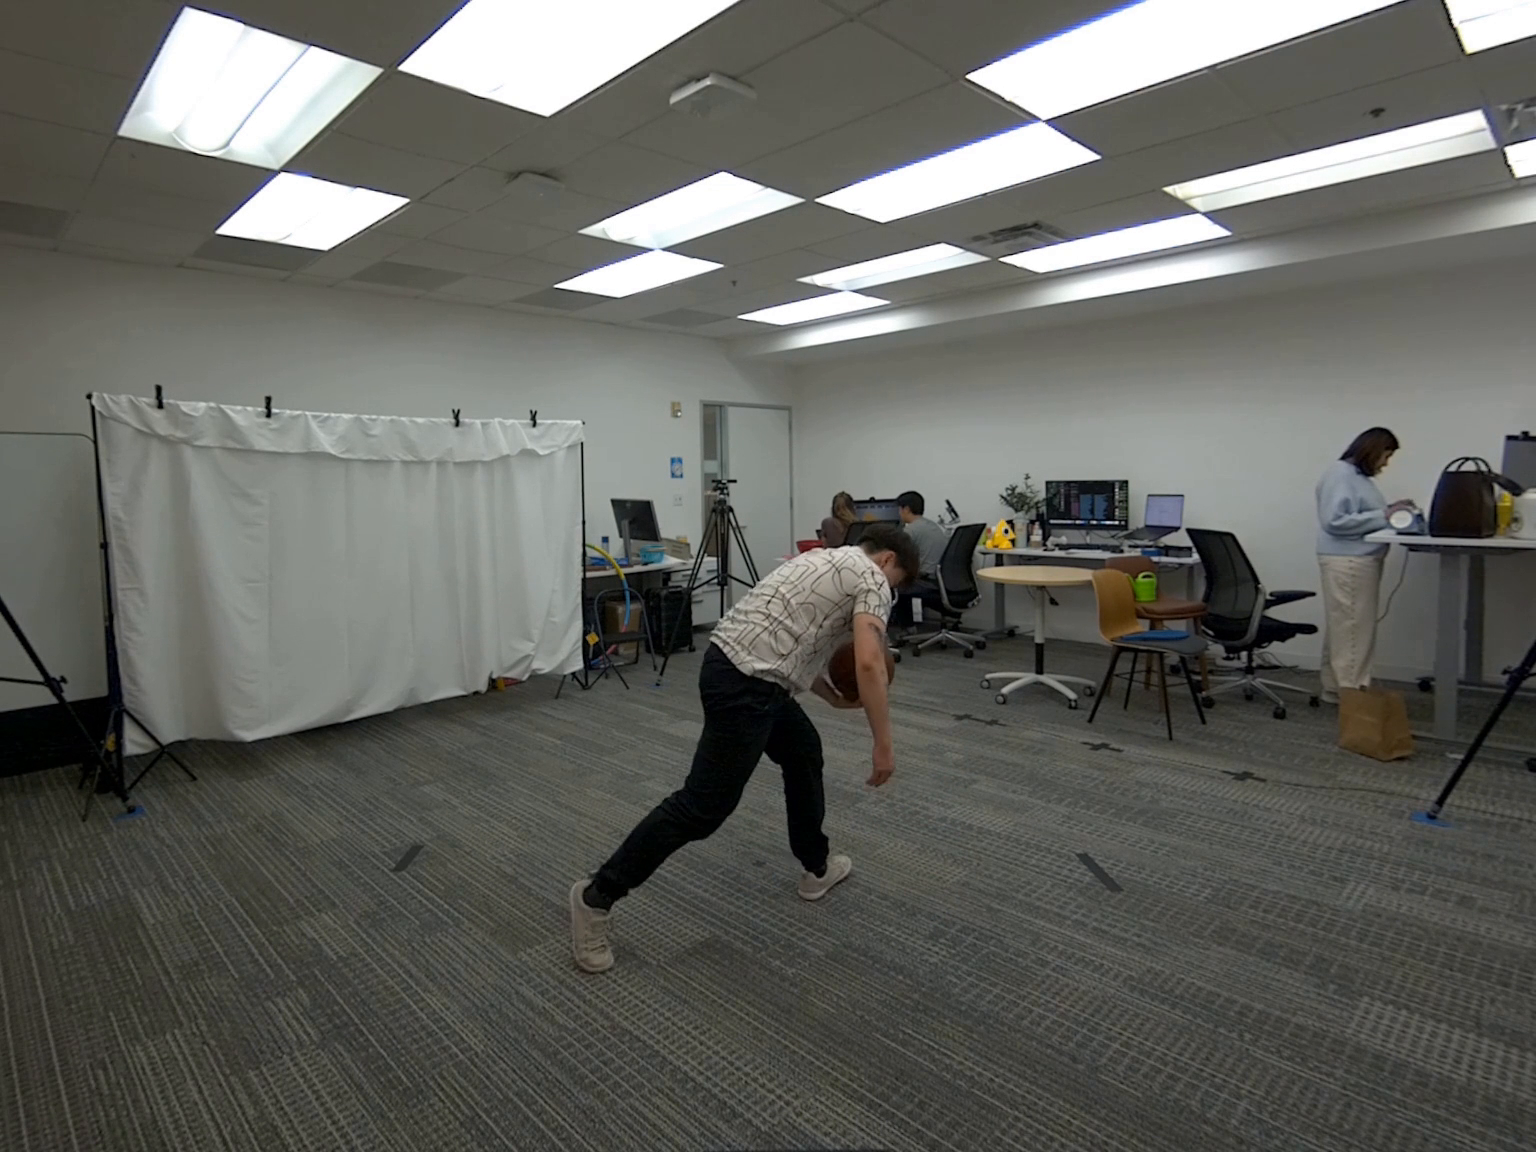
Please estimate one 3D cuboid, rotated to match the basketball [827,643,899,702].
[{"bbox_3d":[0.335,0.333,3.078,0.236,0.235,0.237,-1,5,-2],"label":"basketball"}]
